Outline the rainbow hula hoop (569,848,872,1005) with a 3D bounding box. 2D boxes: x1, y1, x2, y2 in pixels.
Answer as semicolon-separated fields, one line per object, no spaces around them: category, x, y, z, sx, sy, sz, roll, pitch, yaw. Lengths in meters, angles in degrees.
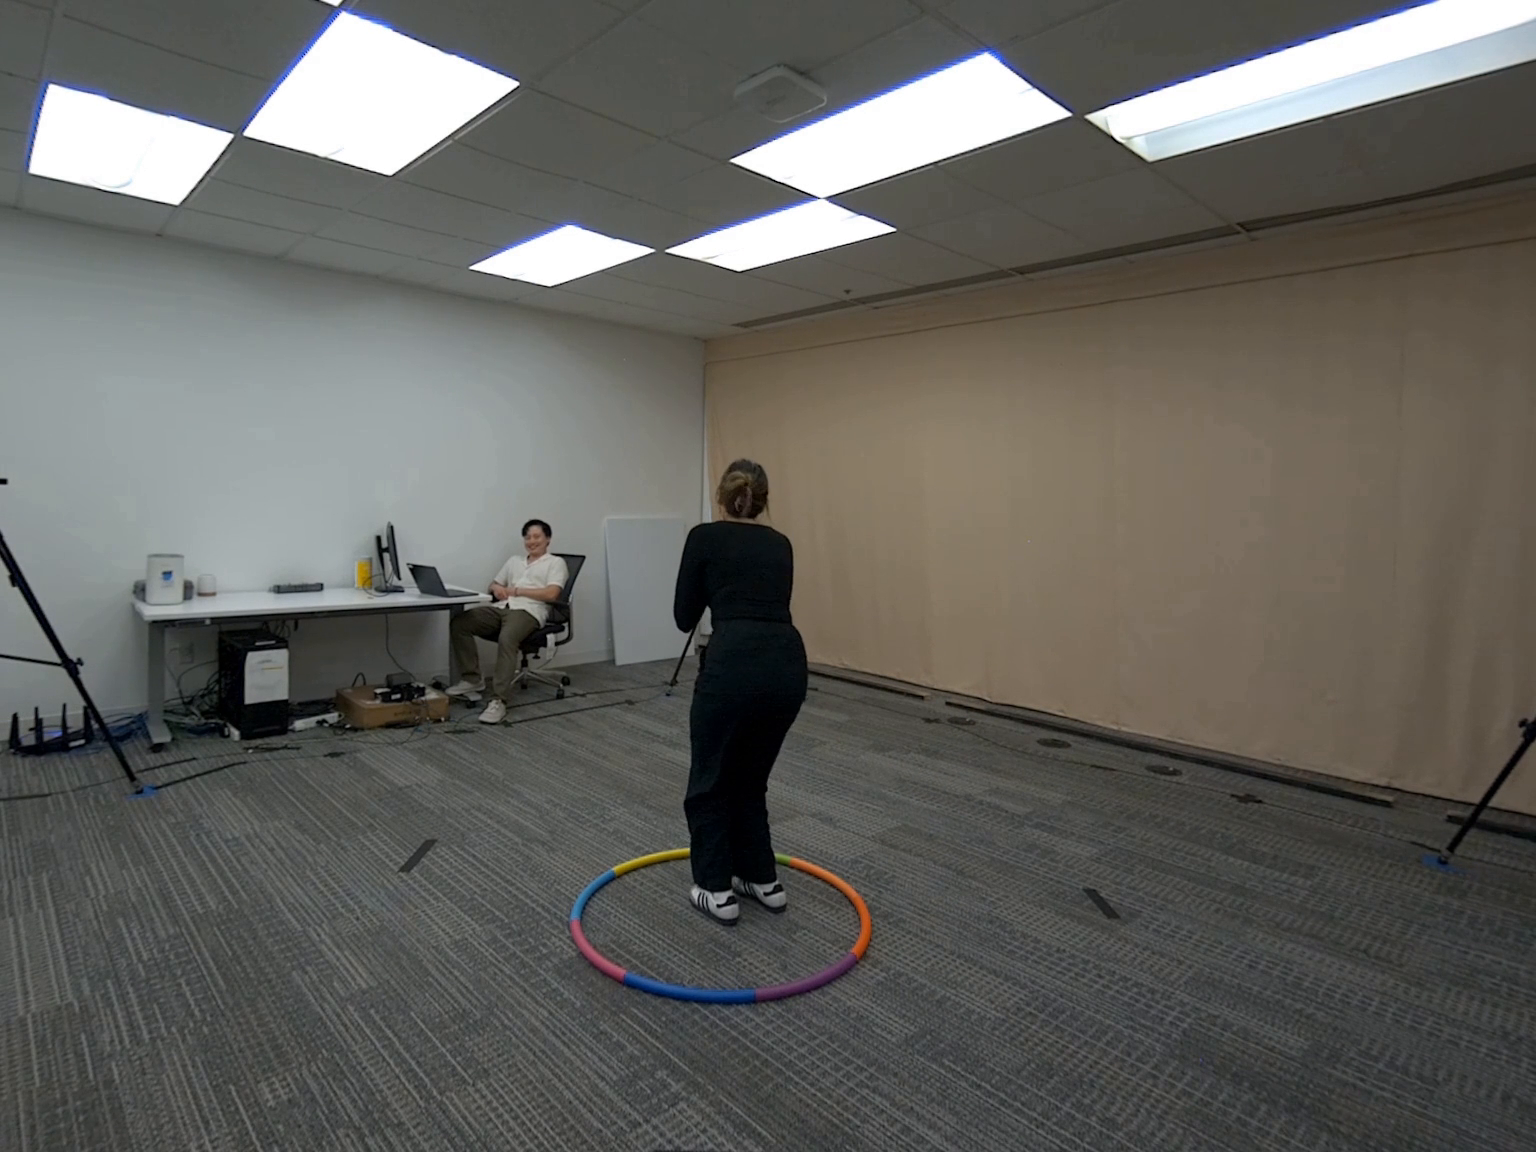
rainbow hula hoop;-0.162;1.107;2.801;0.978;0.035;0.982;1;5;-1
